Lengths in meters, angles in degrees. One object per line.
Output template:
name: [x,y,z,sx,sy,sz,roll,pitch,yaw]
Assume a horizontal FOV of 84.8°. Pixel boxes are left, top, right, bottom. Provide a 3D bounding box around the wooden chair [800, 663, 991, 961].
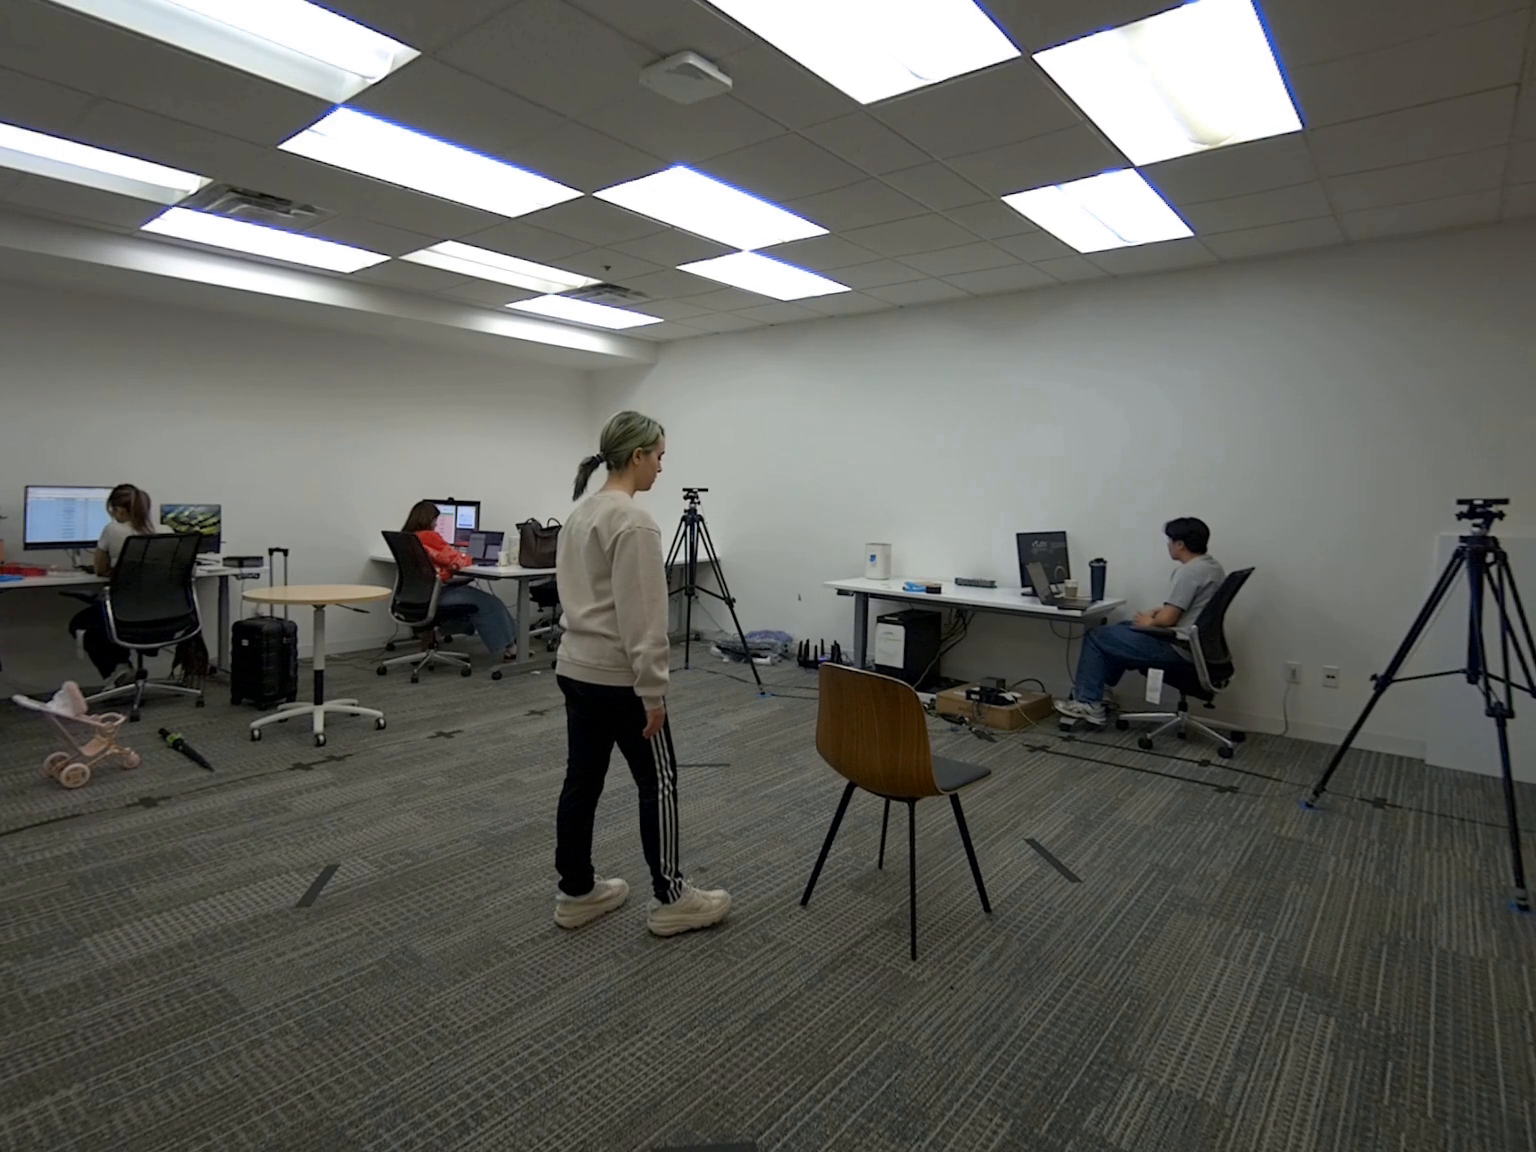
wooden chair: [0.438,0.689,2.819,0.494,0.872,0.509,5,9,44]
